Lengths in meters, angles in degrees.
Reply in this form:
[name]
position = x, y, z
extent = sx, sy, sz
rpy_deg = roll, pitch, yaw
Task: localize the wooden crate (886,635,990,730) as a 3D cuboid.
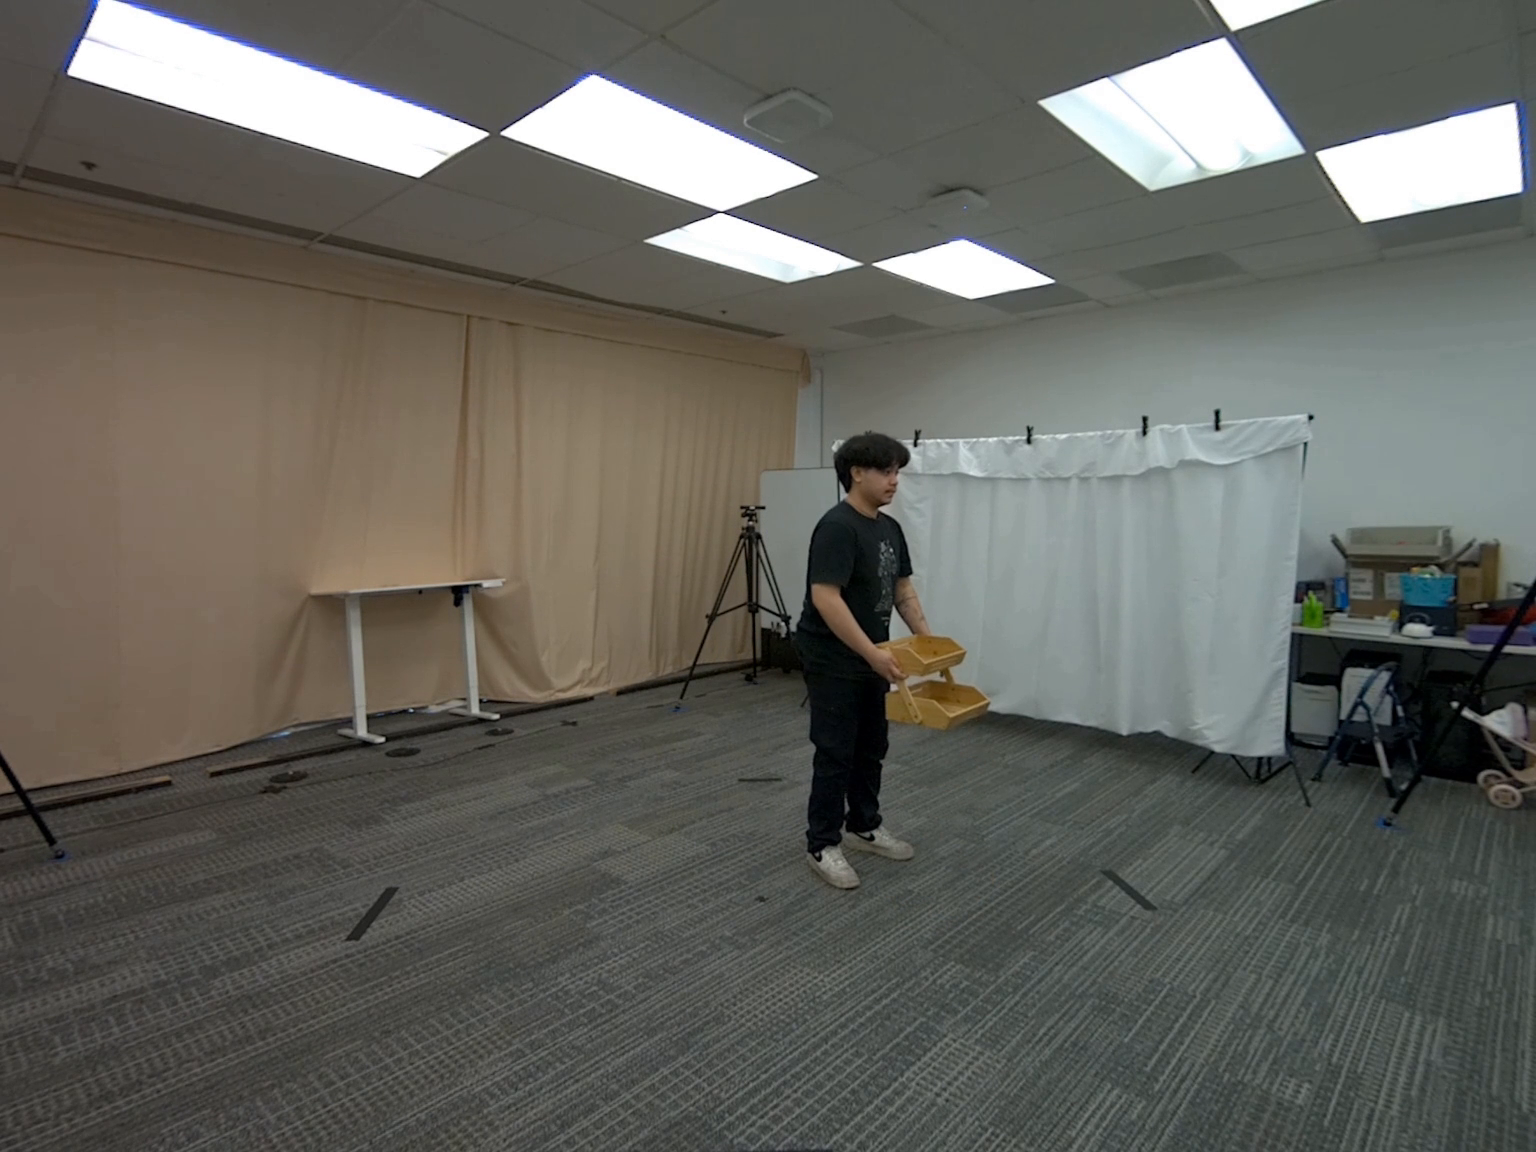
[wooden crate]
position = 0.598, 0.366, 3.013
extent = 0.312, 0.273, 0.315
rpy_deg = 2, 5, 40
